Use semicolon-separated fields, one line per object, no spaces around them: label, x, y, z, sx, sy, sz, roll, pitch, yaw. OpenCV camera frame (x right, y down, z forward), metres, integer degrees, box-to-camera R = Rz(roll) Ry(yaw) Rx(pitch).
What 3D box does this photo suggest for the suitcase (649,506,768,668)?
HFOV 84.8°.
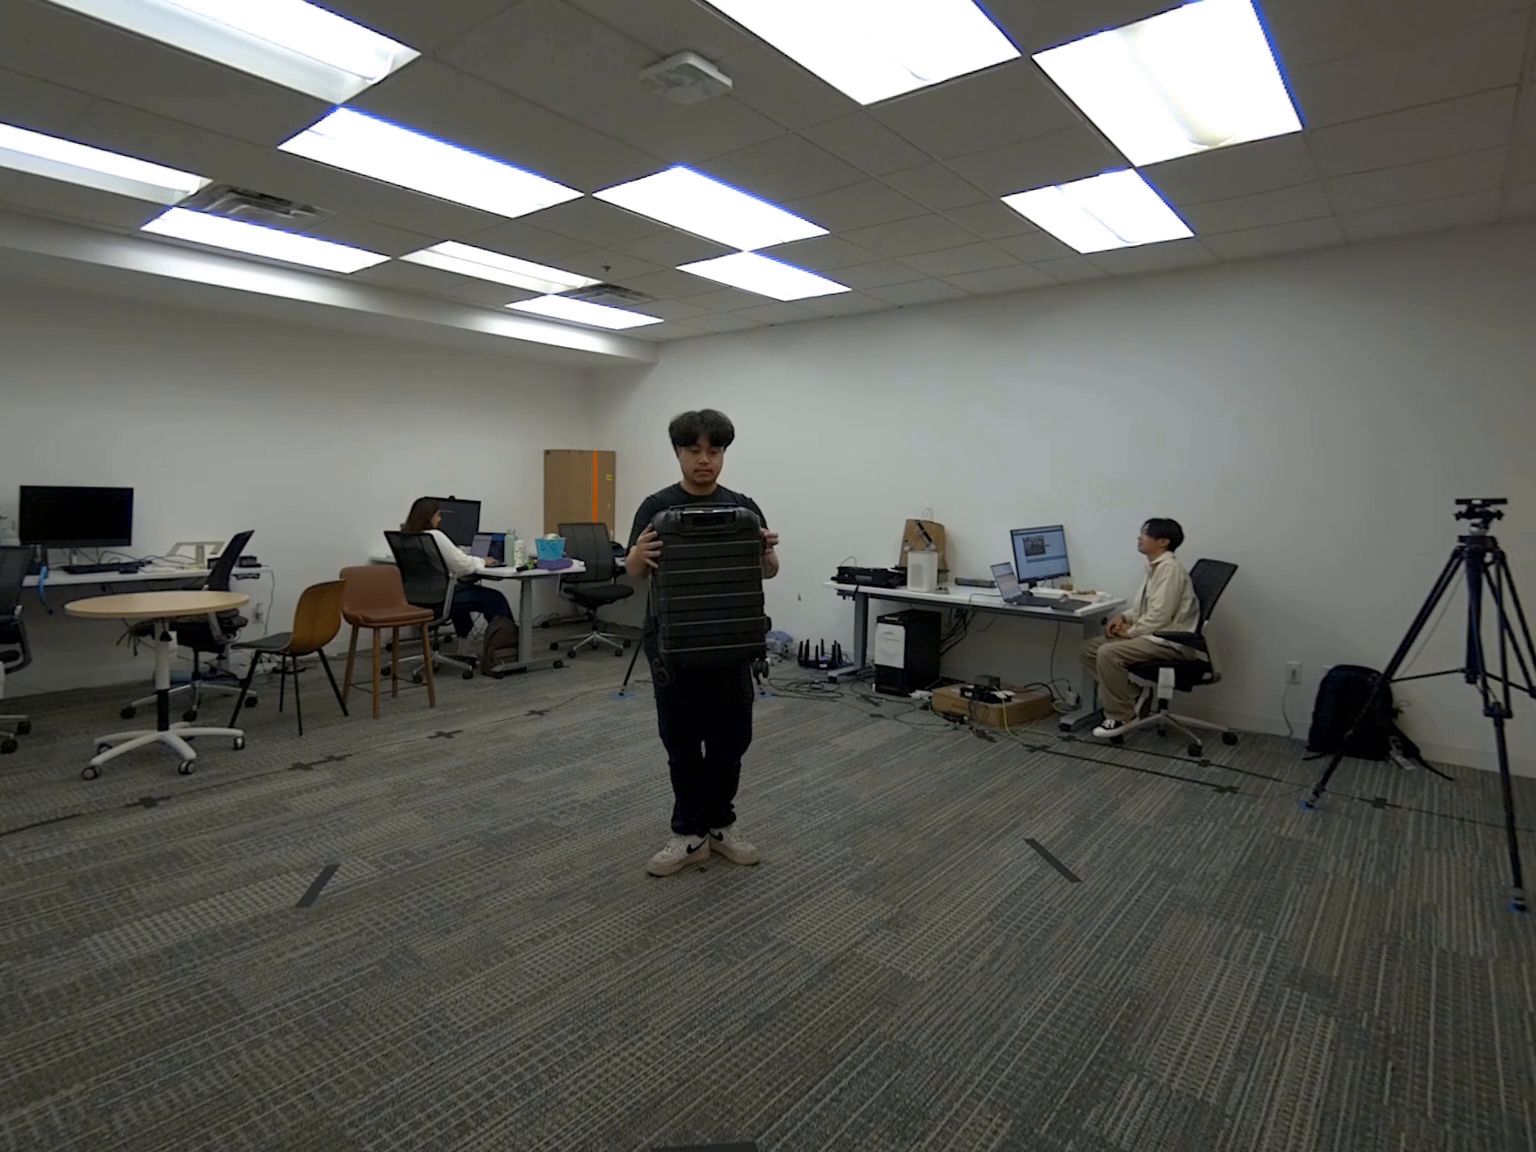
suitcase;-0.214;0.042;2.759;0.372;0.549;0.251;-4;1;-9
